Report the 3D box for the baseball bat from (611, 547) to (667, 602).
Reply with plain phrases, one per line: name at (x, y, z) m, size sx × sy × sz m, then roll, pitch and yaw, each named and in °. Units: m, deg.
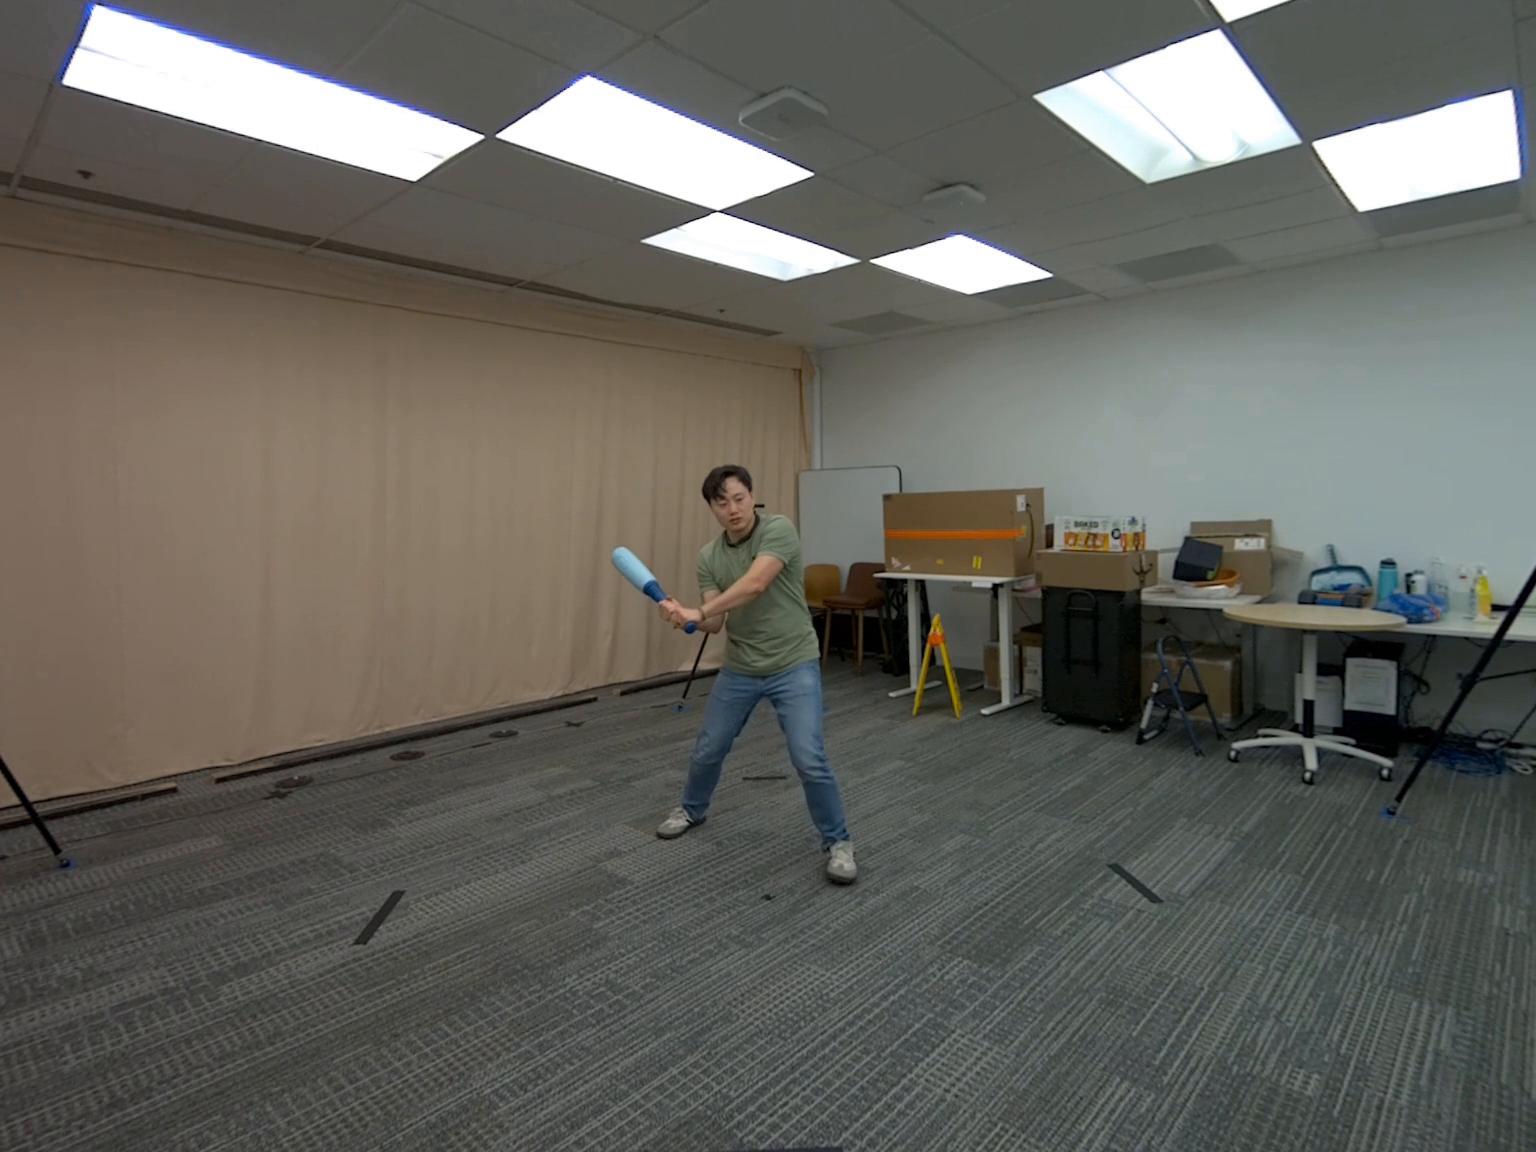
baseball bat at (-0.436, 0.058, 3.234) m, size 0.086 × 0.088 × 0.563 m, roll -4°, pitch 34°, yaw -34°
